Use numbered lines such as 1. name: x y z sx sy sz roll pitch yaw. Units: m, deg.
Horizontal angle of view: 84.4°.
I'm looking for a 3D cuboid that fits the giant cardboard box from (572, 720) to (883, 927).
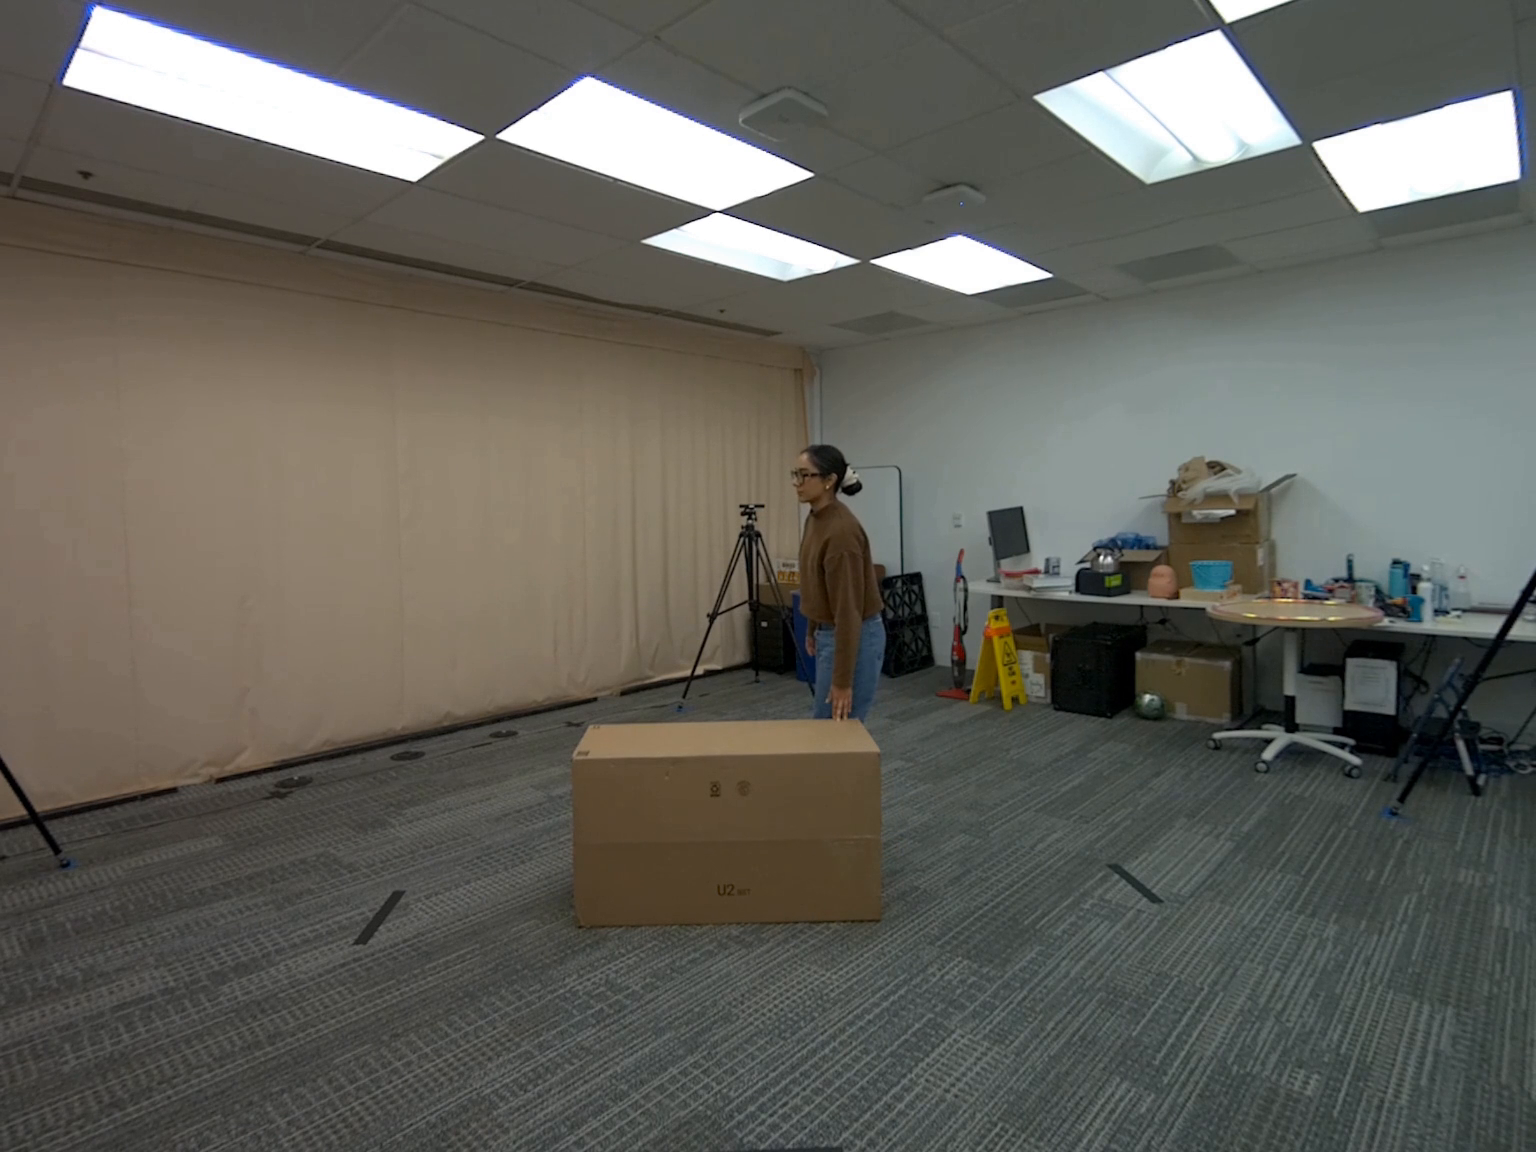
1. giant cardboard box: -0.158 0.857 2.988 1.028 0.582 0.448 -1 5 0
